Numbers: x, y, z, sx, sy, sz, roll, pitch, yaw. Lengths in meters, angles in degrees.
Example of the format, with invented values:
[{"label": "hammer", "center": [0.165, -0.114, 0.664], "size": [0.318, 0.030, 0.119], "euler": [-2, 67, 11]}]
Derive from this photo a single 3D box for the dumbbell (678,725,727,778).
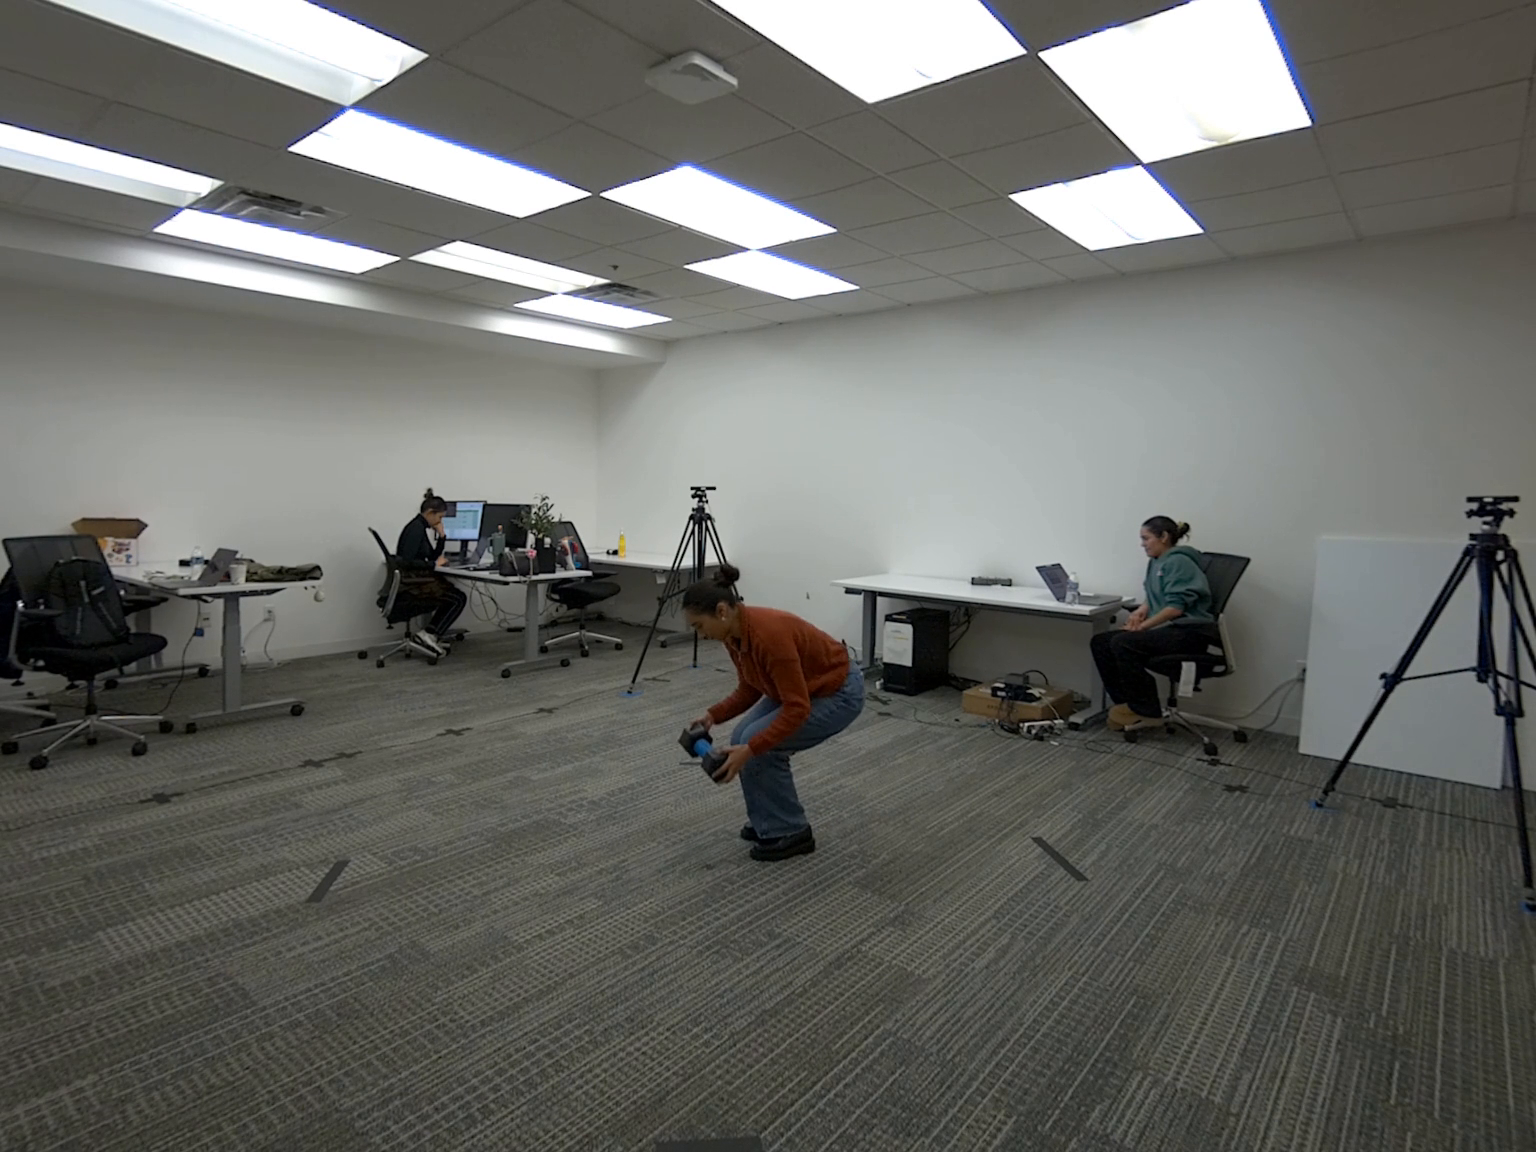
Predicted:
[{"label": "dumbbell", "center": [-0.232, 0.648, 3.196], "size": [0.121, 0.107, 0.303], "euler": [-11, 17, -21]}]
